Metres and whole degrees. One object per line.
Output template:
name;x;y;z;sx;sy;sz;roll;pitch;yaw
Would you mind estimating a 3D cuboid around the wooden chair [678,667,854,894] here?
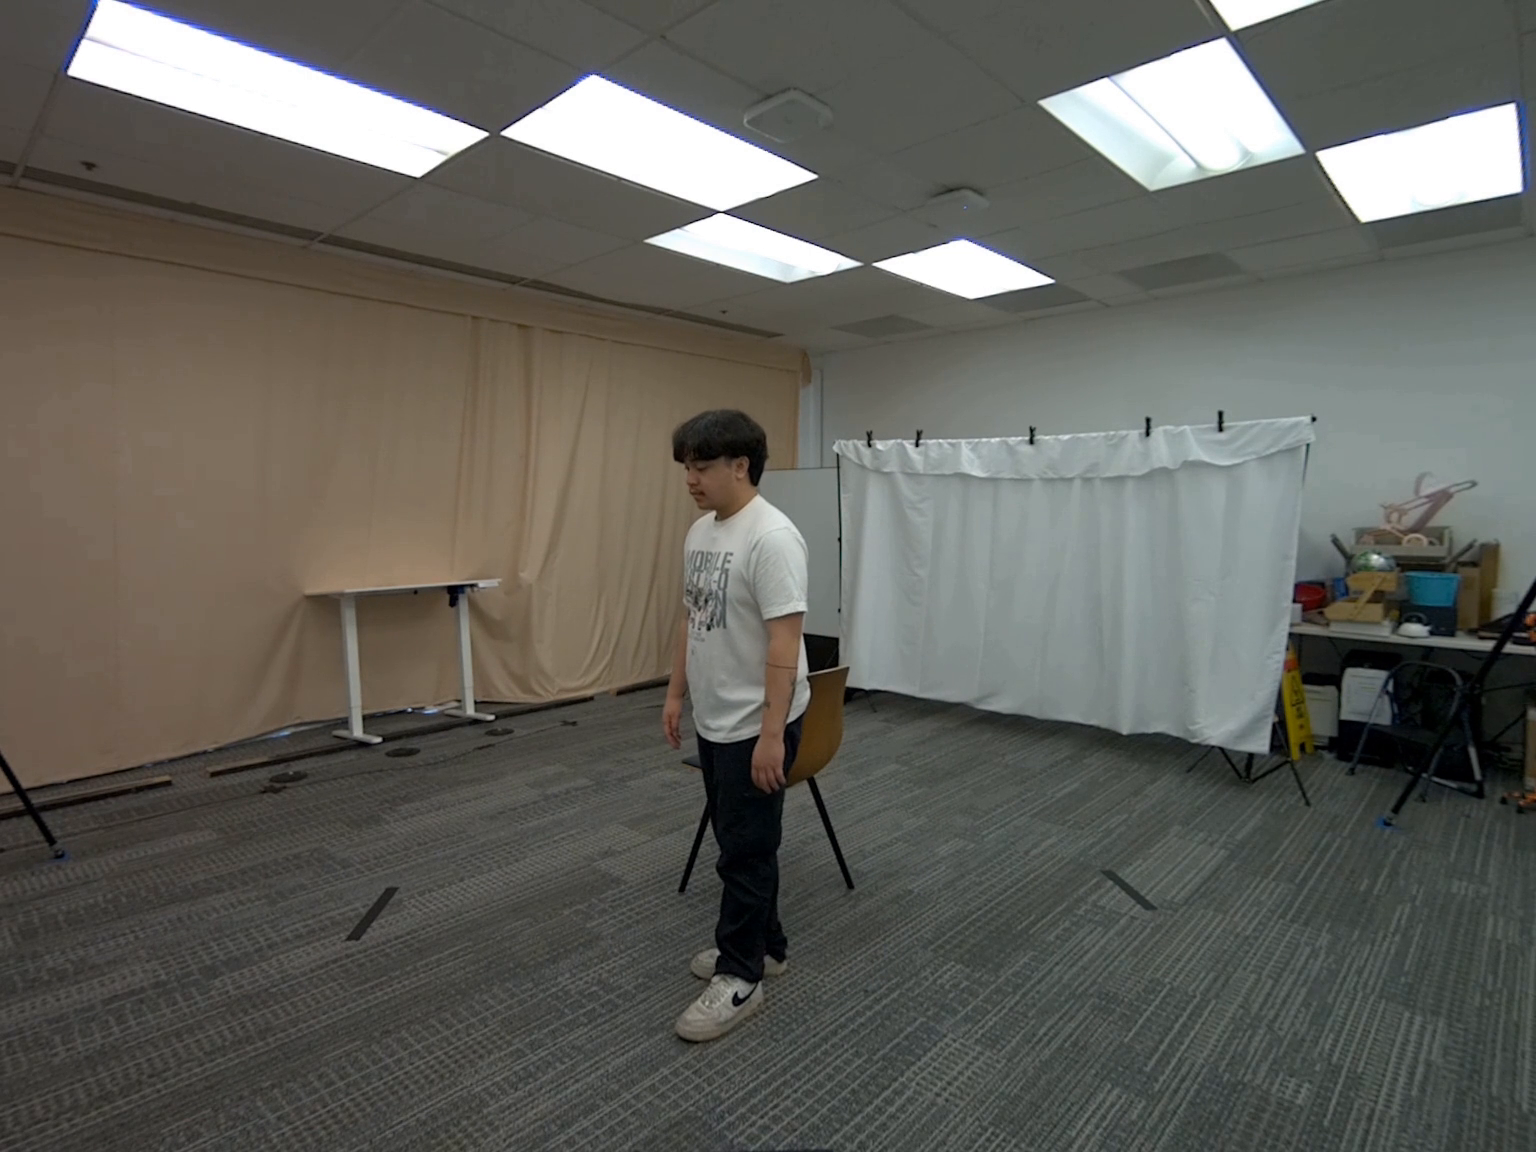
wooden chair;-0.009;0.716;3.029;0.541;0.874;0.463;8;8;40
